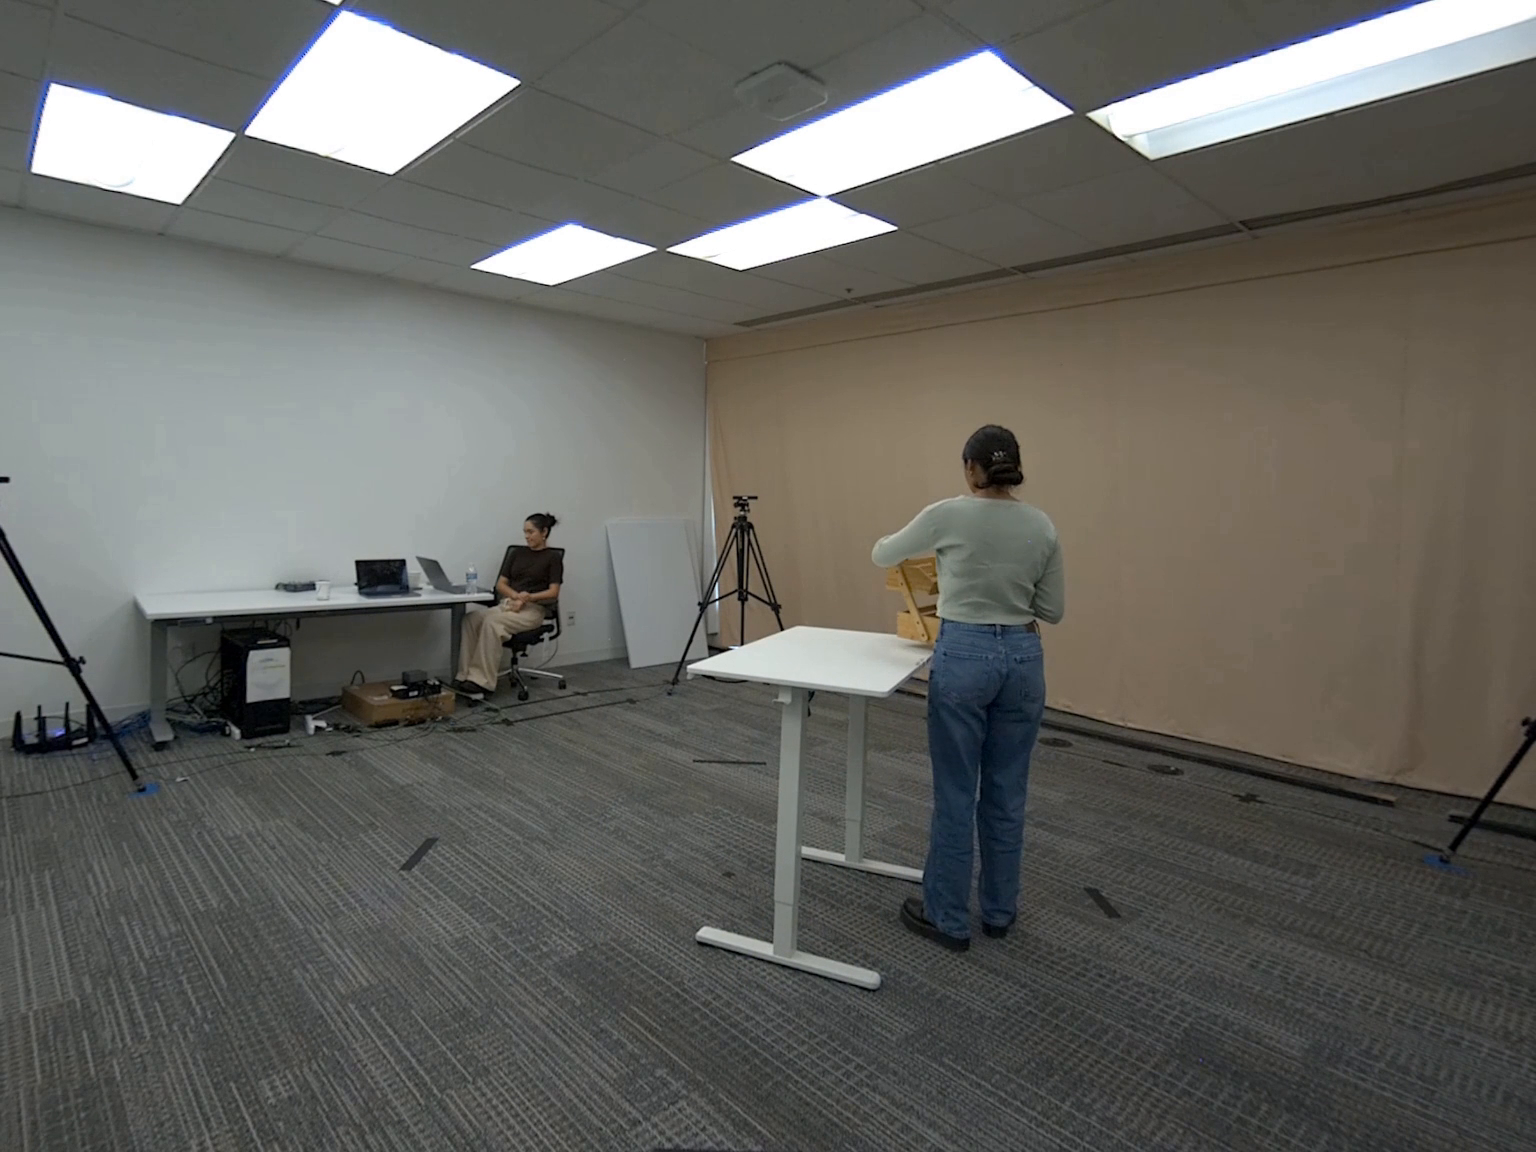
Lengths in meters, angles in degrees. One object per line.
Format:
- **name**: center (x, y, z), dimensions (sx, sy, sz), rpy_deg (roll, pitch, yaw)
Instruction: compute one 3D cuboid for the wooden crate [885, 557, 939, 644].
- **wooden crate**: center (0.634, 0.086, 2.992), dimensions (0.318, 0.272, 0.310), rpy_deg (-8, 10, -40)
